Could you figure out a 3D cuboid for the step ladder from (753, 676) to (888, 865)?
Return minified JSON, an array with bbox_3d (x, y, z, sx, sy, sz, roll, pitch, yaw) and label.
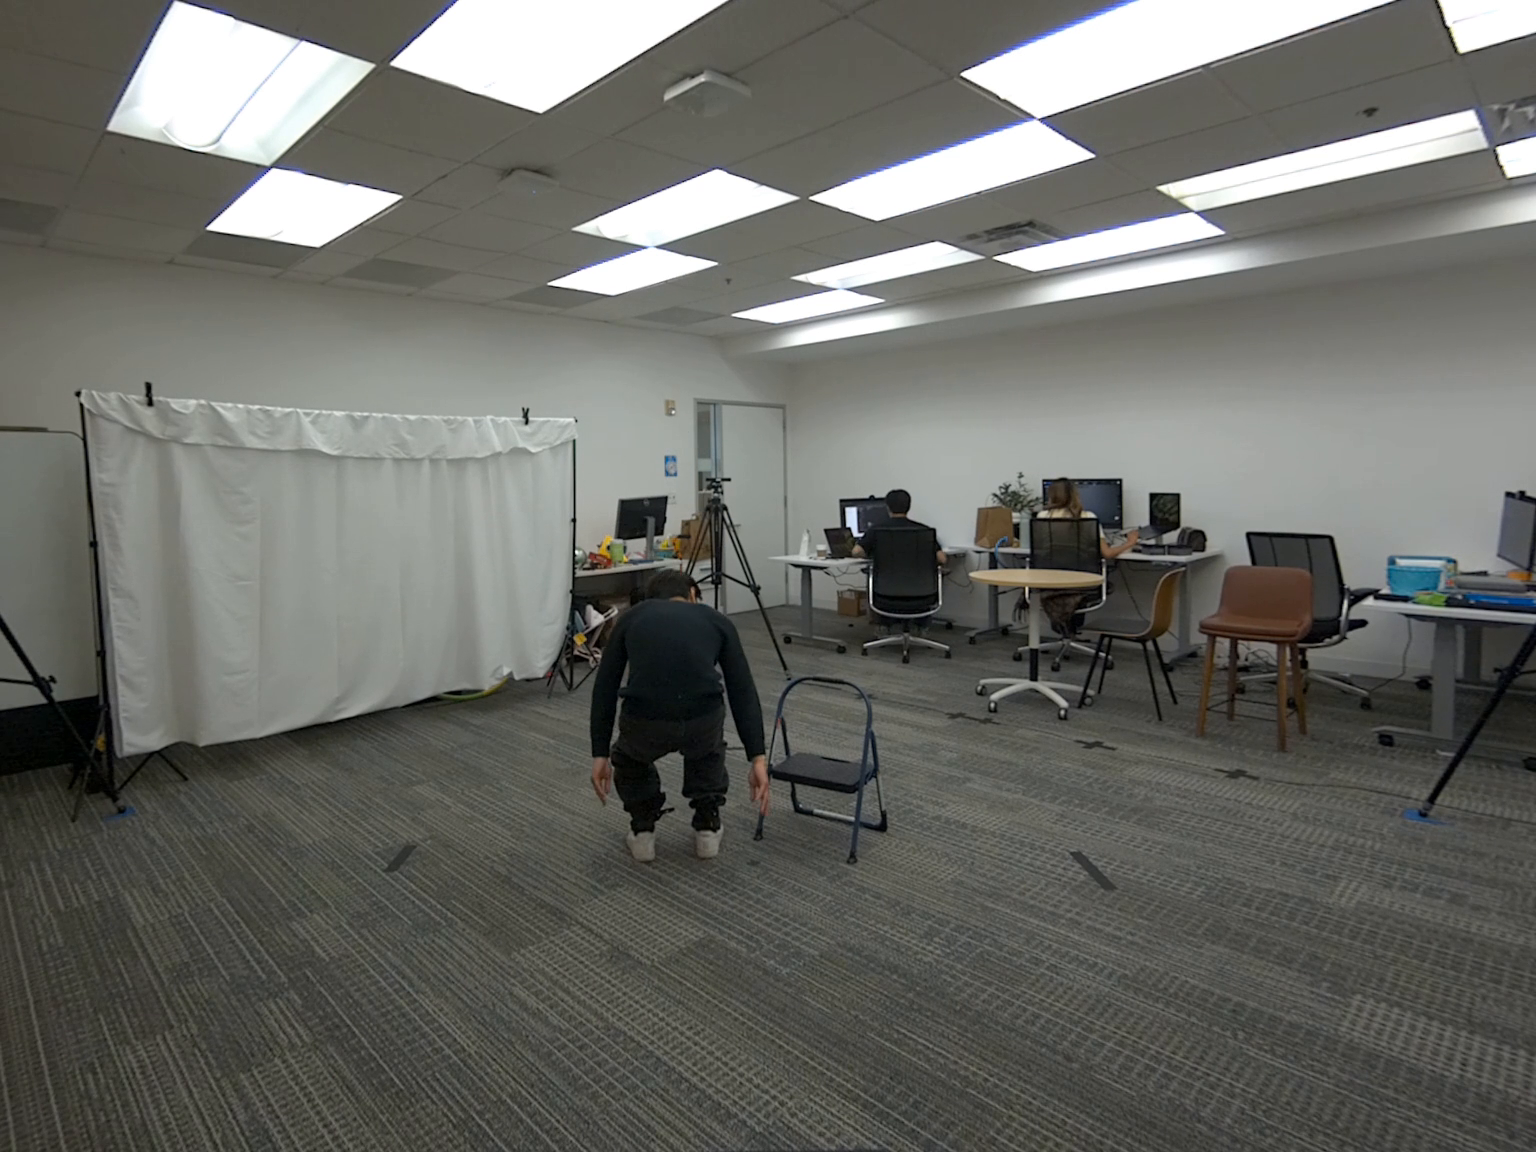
[{"bbox_3d":[0.210,0.708,3.322,0.442,0.604,0.341,2,5,31],"label":"step ladder"}]
